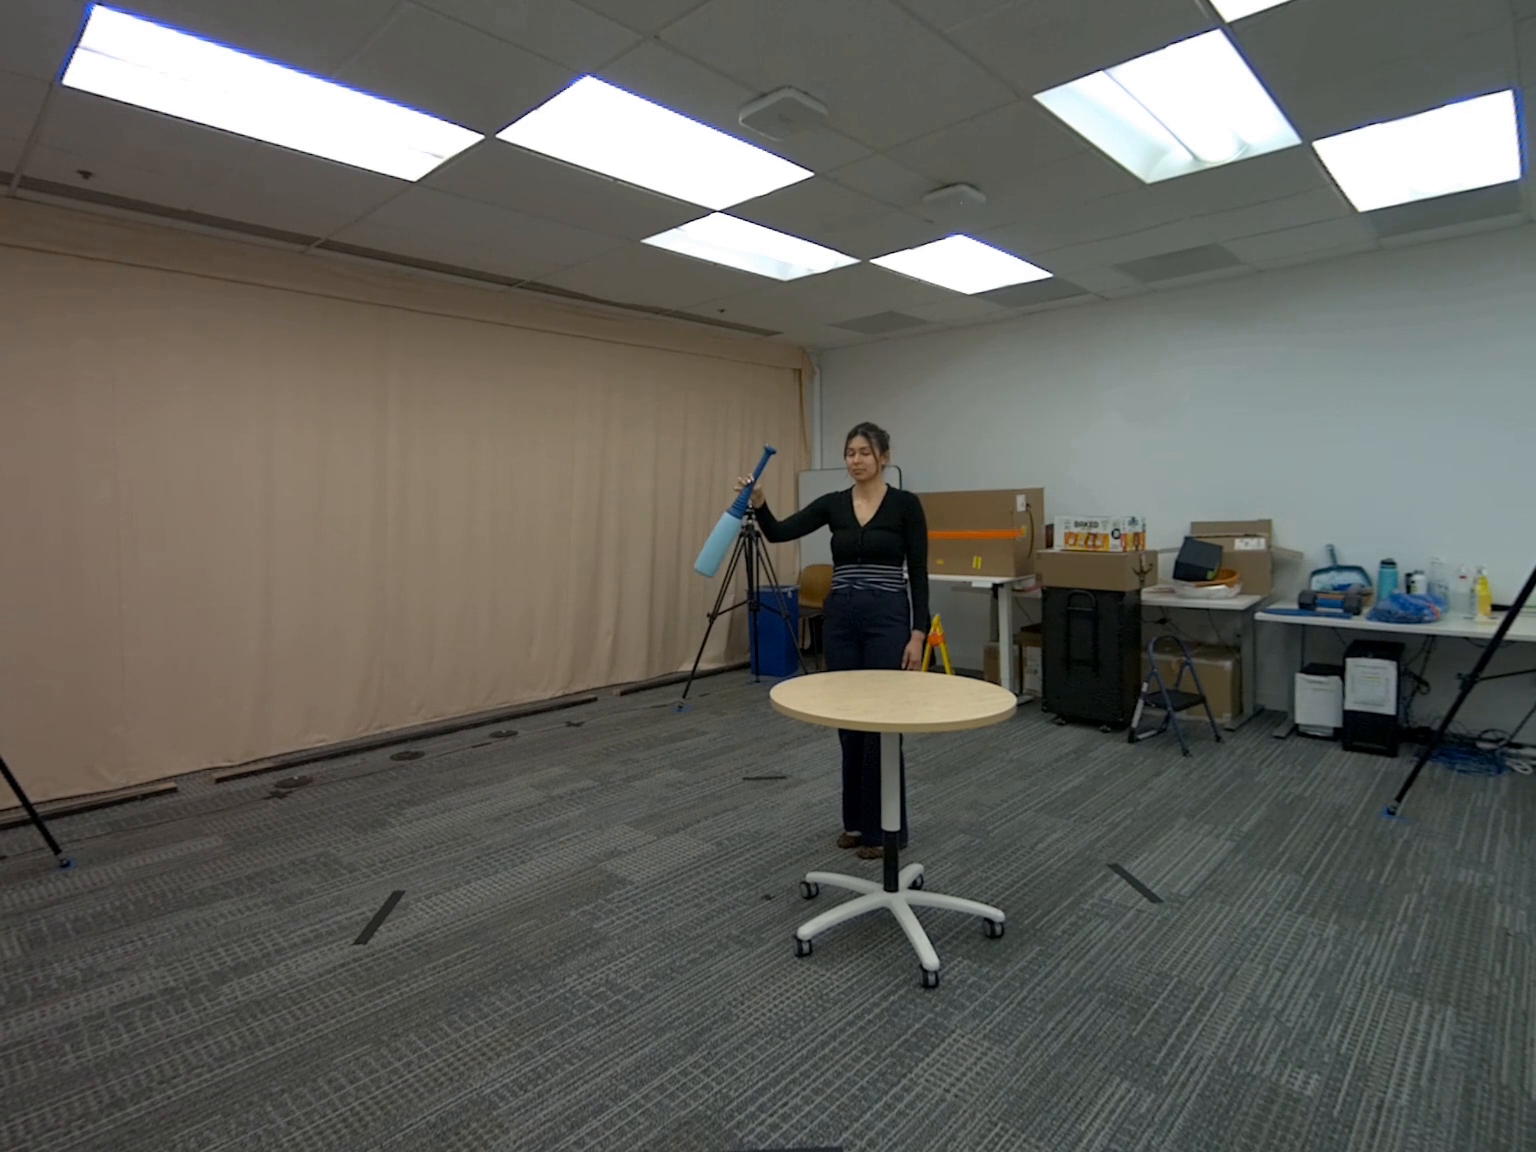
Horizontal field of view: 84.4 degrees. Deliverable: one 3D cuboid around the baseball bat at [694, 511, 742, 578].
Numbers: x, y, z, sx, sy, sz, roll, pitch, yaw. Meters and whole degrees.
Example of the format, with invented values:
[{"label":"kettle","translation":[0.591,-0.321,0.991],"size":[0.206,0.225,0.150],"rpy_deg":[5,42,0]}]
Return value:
[{"label":"baseball bat","translation":[-0.114,-0.244,3.132],"size":[0.088,0.543,0.090],"rpy_deg":[28,9,-7]}]
